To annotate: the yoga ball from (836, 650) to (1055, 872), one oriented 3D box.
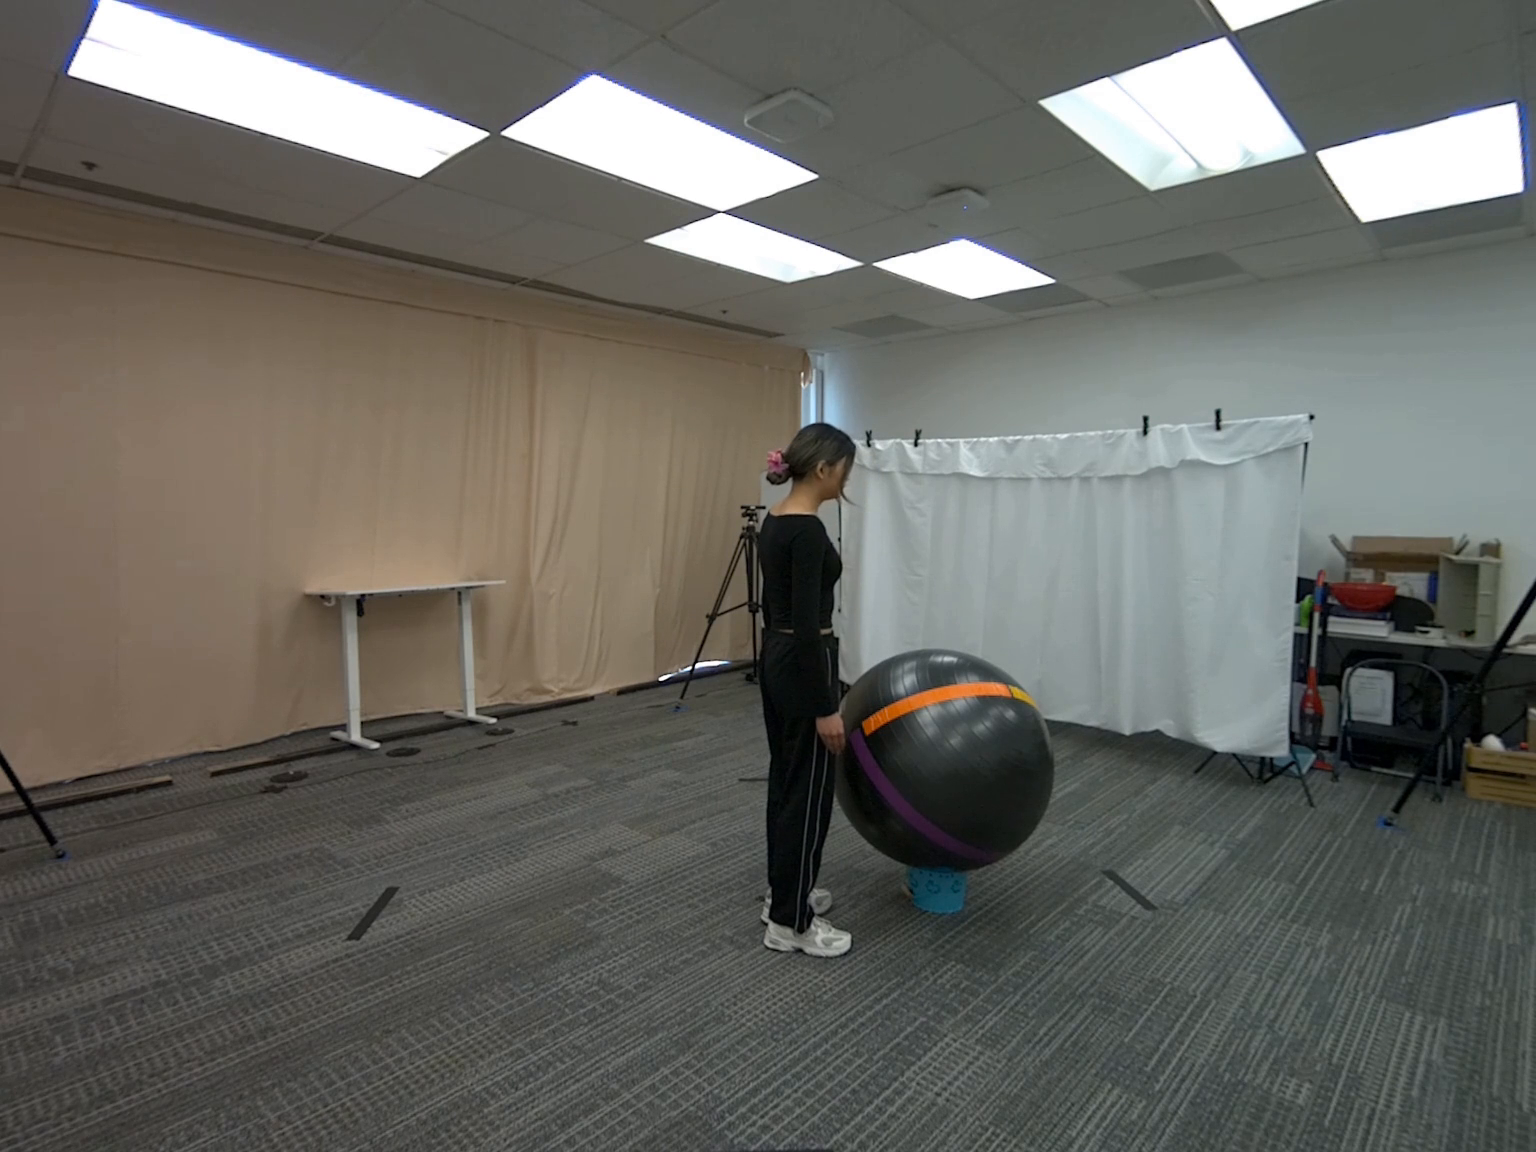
[{"bbox_3d":[0.604,0.635,2.941,0.757,0.756,0.760,0,4,-2],"label":"yoga ball"}]
